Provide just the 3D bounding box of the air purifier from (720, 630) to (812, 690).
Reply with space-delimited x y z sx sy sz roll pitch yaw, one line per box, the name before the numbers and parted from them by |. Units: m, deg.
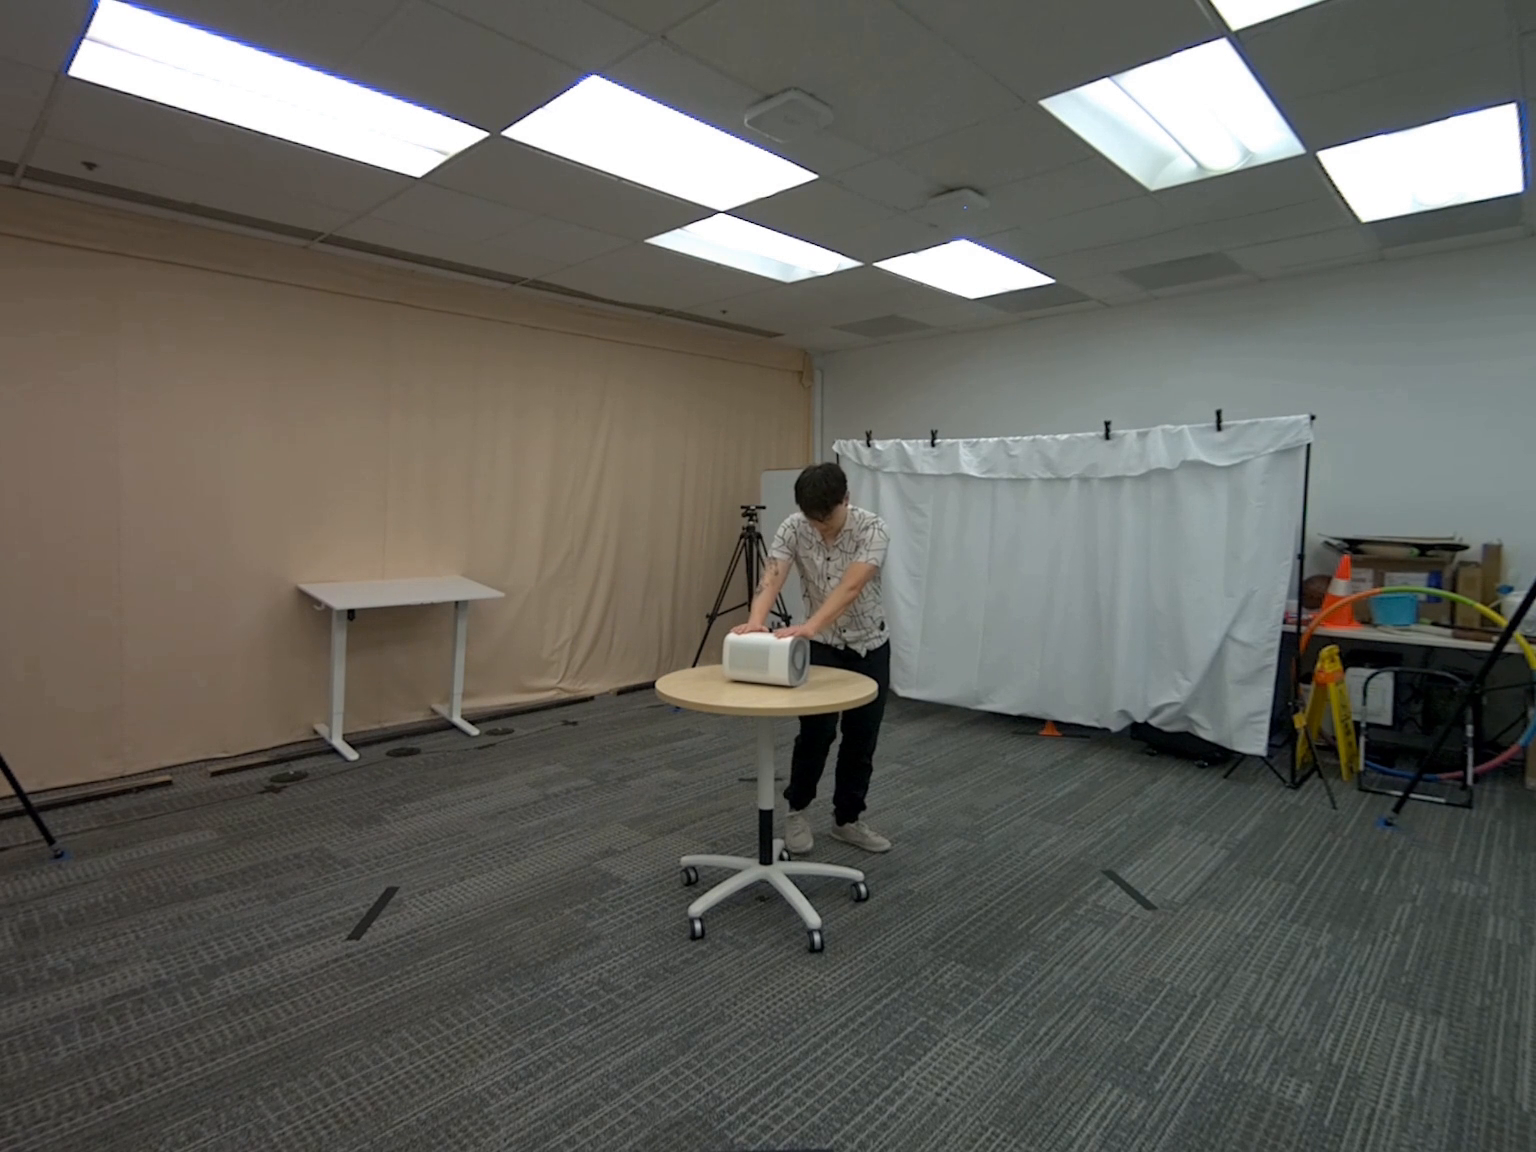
air purifier | -0.007 0.281 2.920 0.272 0.172 0.166 1 -1 28
